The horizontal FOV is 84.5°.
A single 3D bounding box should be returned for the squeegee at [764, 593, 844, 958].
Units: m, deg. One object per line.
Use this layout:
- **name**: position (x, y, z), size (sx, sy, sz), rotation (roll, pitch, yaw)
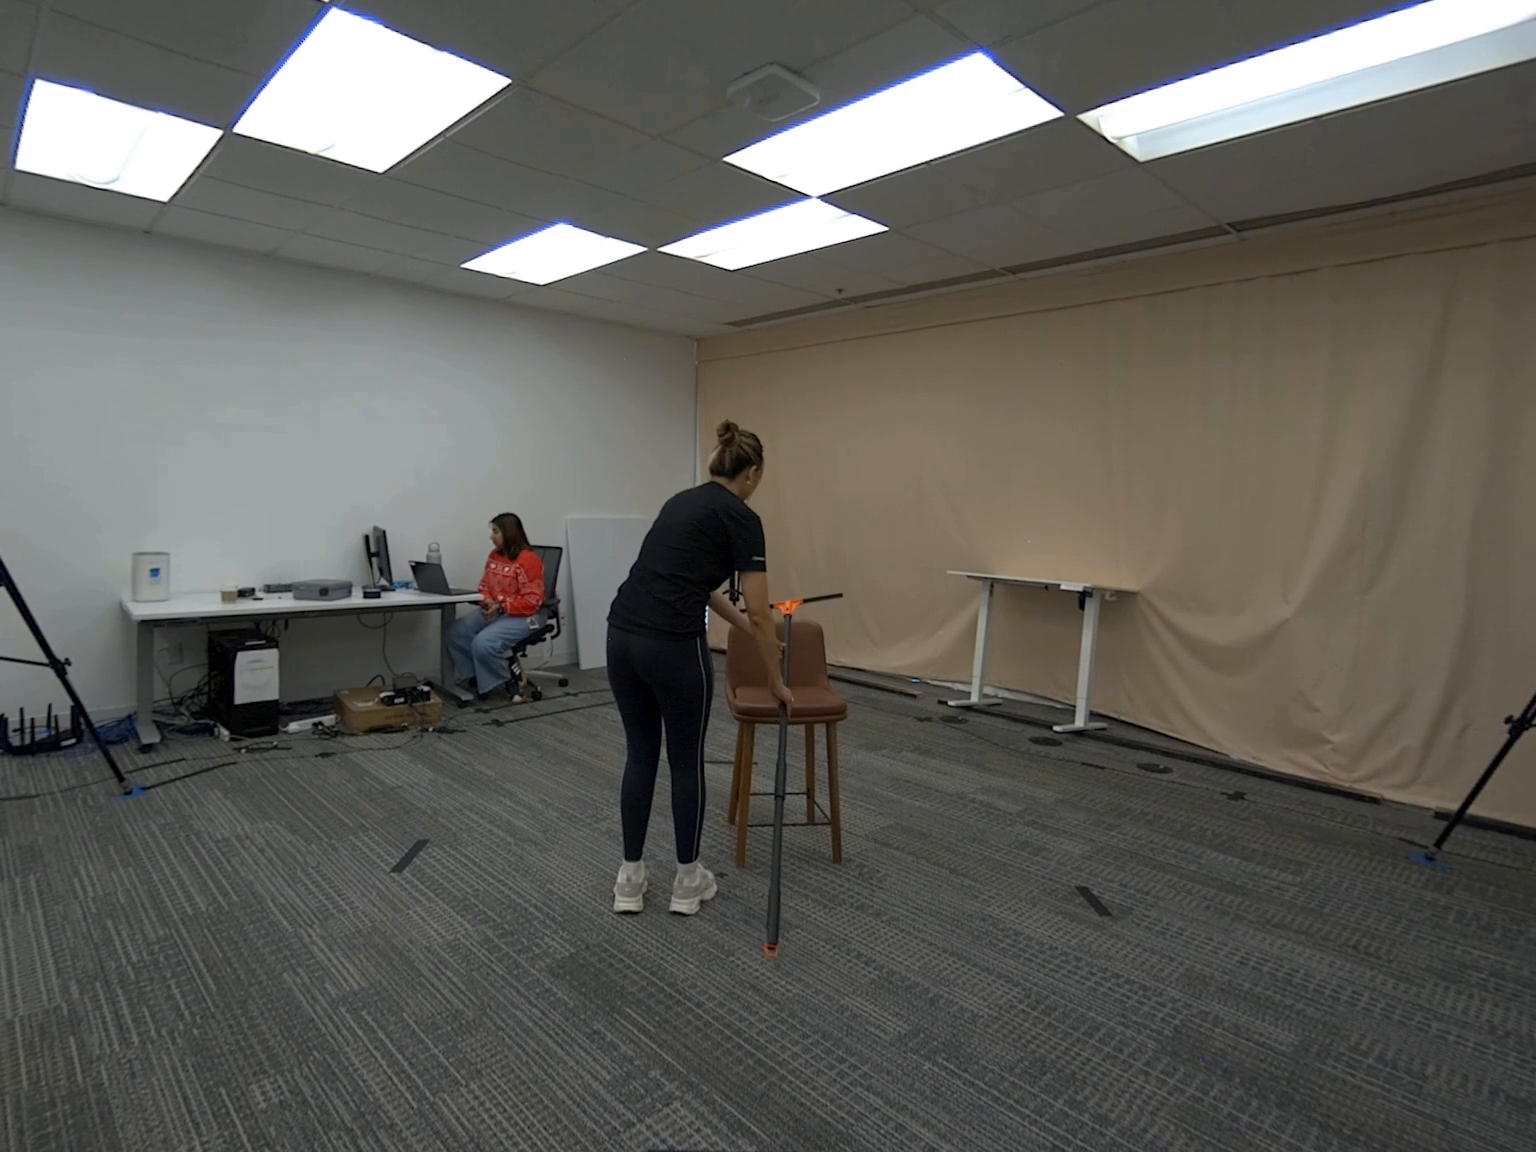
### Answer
- **squeegee**: position (0.039, 0.547, 2.776), size (0.441, 0.051, 1.565), rotation (-17, 31, 14)
